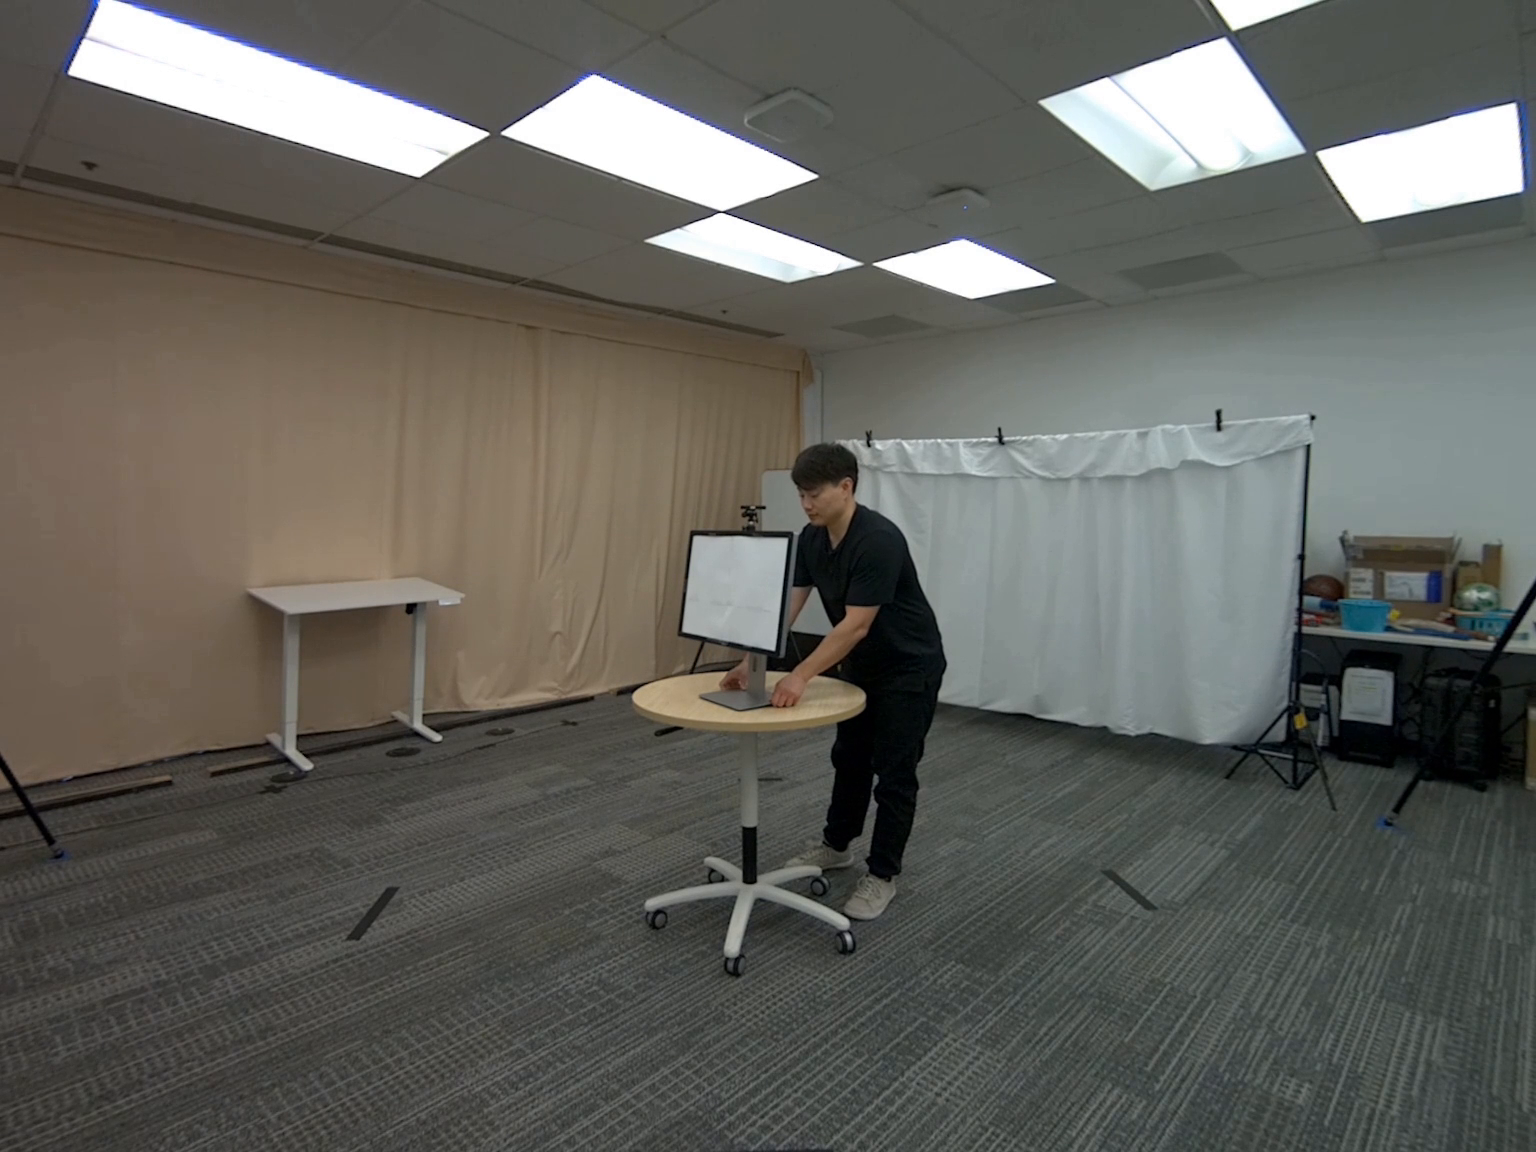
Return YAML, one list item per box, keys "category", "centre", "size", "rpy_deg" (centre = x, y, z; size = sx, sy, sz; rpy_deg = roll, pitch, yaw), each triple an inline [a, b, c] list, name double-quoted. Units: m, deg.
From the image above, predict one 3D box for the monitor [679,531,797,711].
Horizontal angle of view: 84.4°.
- category: "monitor"
  centre: [-0.072, 0.130, 2.664]
  size: [0.182, 0.521, 0.556]
  rpy_deg: [-4, 4, -37]
